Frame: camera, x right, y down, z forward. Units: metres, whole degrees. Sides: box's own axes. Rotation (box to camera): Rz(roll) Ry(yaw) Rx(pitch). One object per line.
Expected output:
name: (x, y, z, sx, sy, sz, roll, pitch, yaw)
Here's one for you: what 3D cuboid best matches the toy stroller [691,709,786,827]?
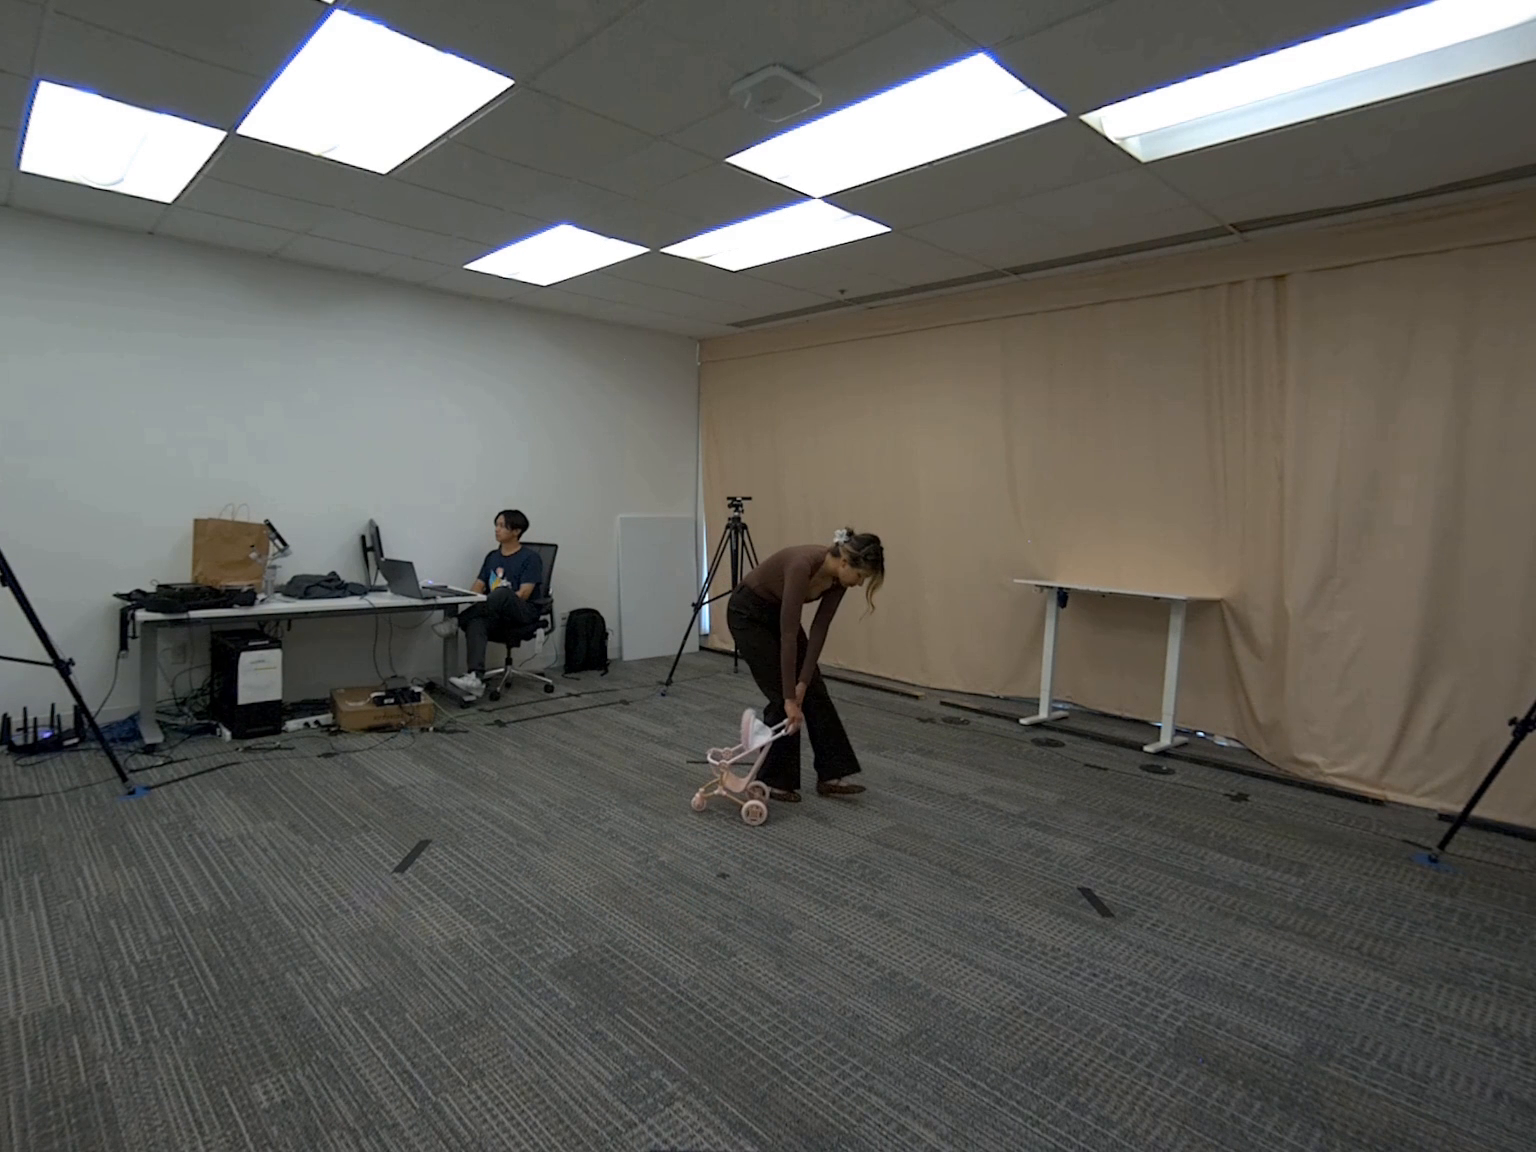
toy stroller: (-0.121, 0.827, 3.717, 0.344, 0.533, 0.280, 19, 5, 8)
